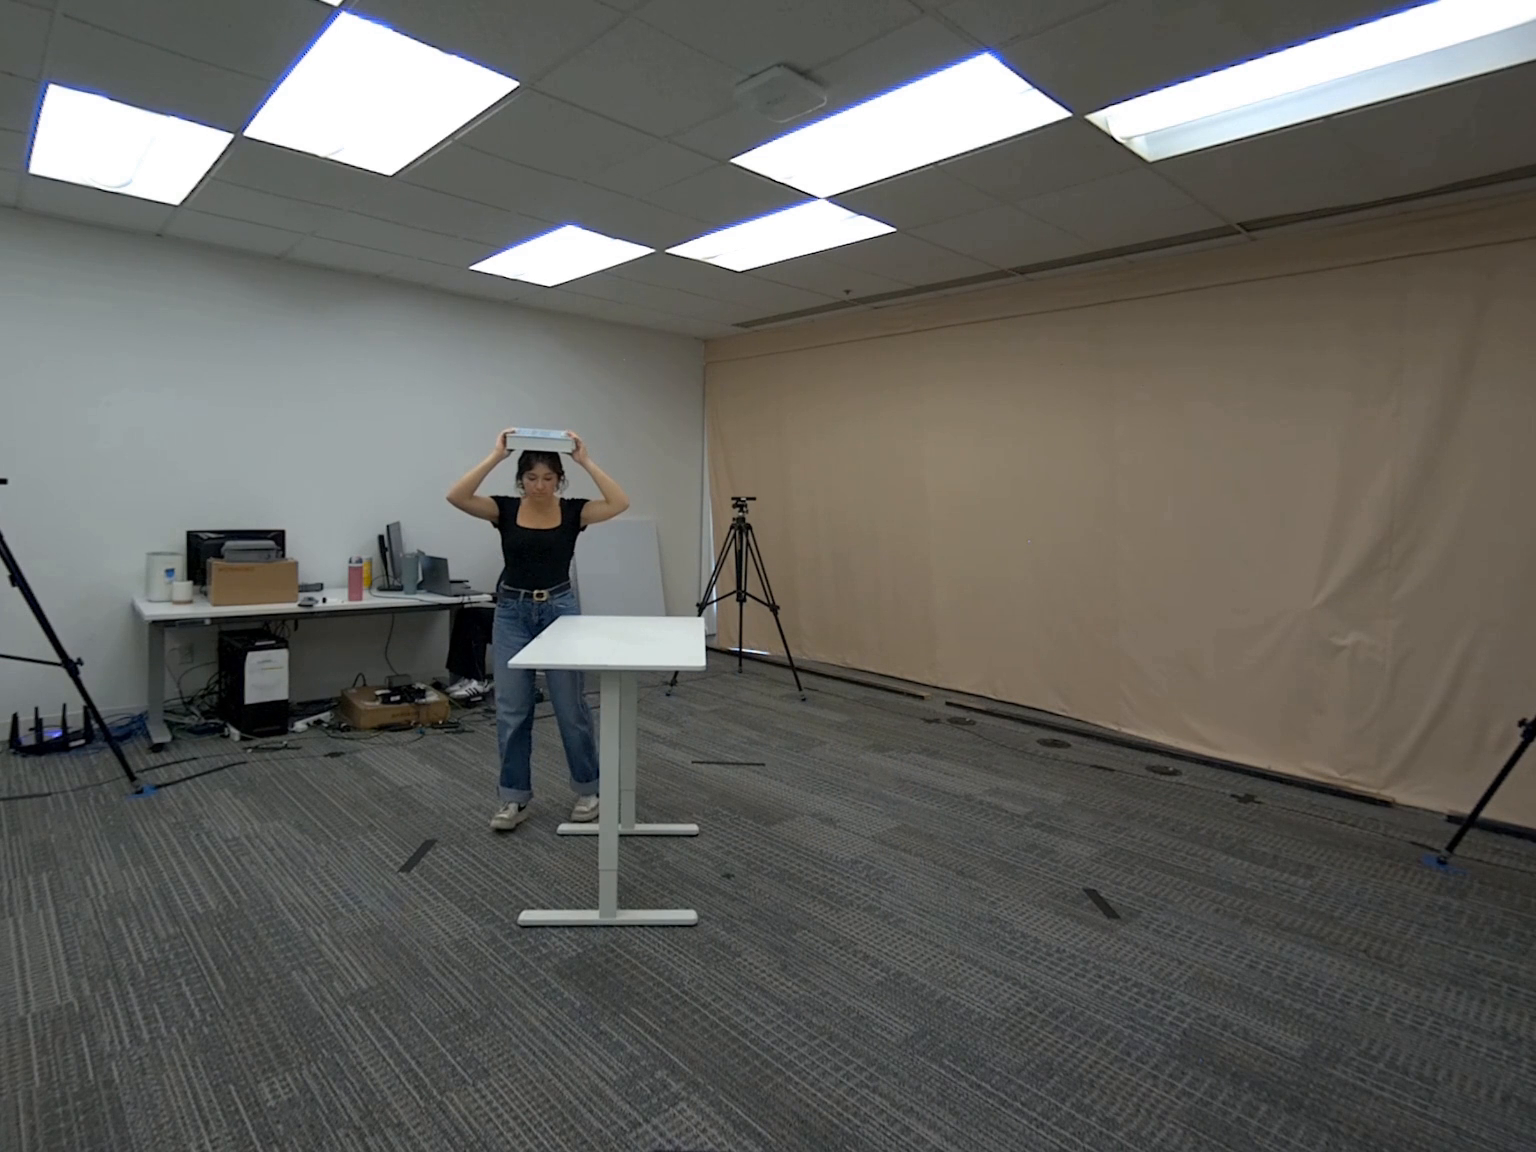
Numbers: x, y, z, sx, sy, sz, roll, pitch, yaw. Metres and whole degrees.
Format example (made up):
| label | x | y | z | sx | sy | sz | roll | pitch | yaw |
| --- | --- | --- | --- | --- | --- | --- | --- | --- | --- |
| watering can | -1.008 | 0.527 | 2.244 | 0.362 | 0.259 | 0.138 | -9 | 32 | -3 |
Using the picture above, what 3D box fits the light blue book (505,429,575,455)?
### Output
| label | x | y | z | sx | sy | sz | roll | pitch | yaw |
| --- | --- | --- | --- | --- | --- | --- | --- | --- | --- |
| light blue book | -0.942 | -0.560 | 3.461 | 0.259 | 0.058 | 0.195 | 1 | 16 | -9 |
